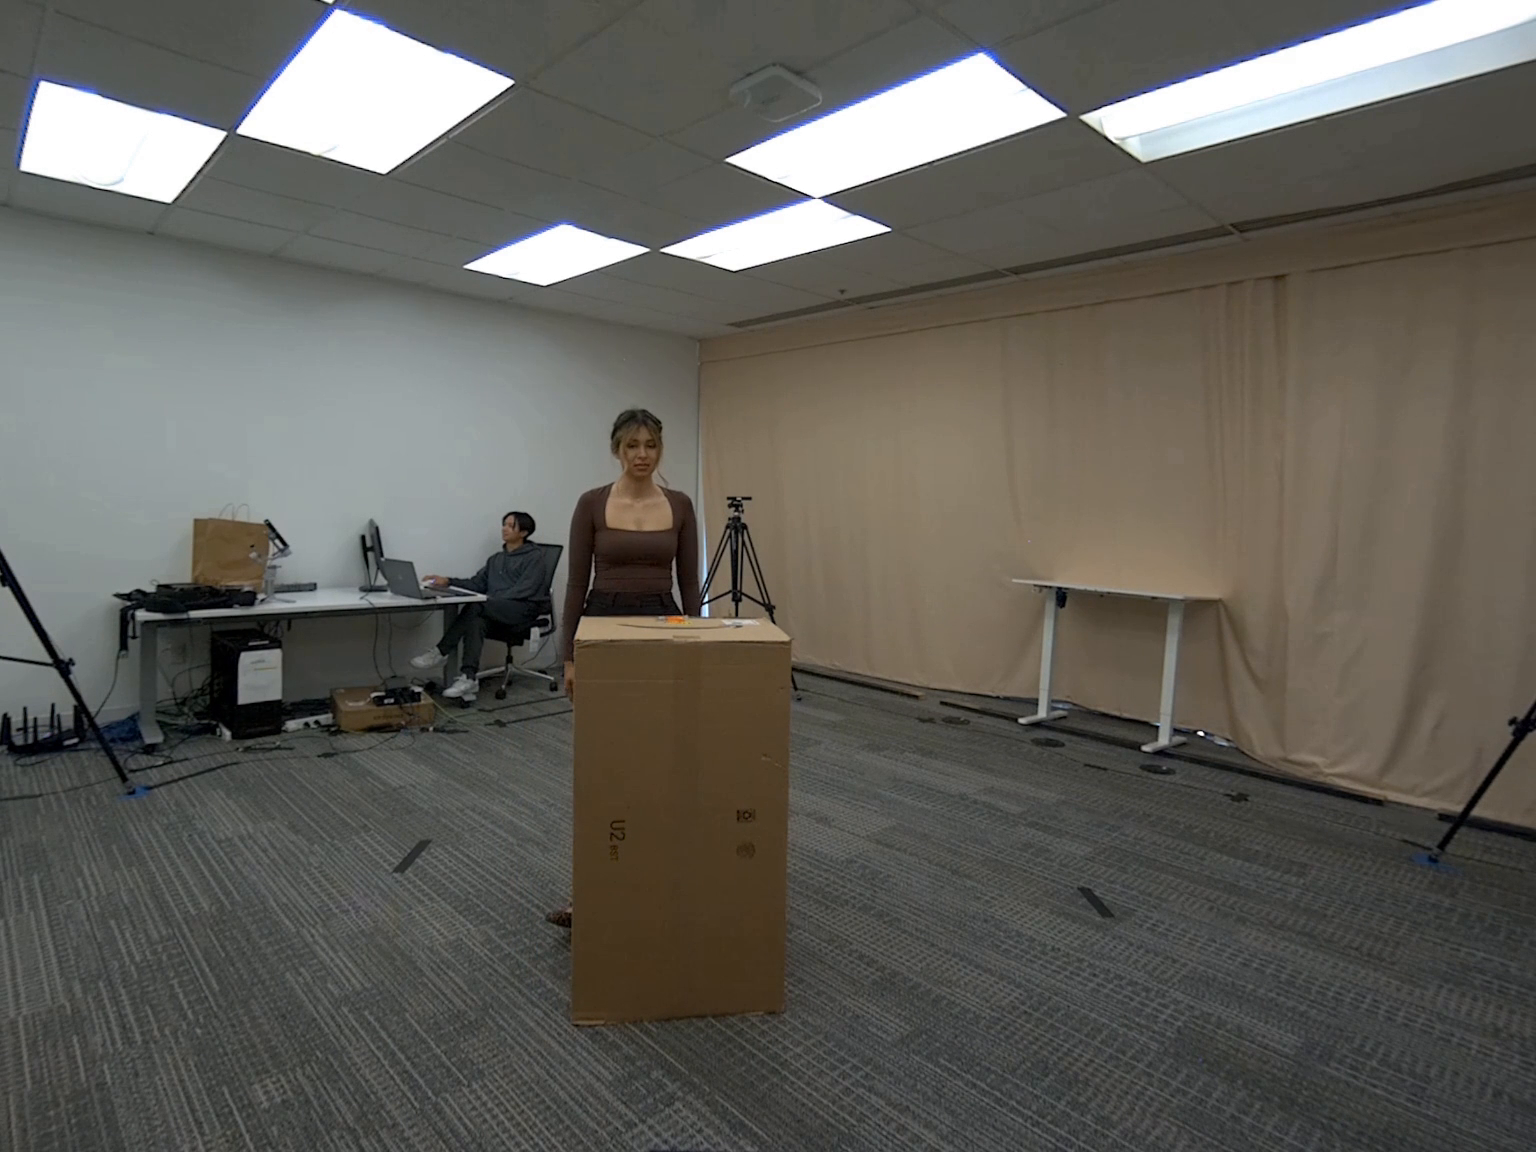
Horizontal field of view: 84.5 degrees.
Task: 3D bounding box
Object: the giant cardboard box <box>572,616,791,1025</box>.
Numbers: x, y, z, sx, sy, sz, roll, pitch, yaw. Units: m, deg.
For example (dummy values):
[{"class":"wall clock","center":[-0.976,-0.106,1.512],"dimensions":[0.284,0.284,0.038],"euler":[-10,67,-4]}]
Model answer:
[{"class":"giant cardboard box","center":[-0.265,0.651,2.420],"dimensions":[0.580,1.024,0.451],"euler":[1,3,-8]}]
